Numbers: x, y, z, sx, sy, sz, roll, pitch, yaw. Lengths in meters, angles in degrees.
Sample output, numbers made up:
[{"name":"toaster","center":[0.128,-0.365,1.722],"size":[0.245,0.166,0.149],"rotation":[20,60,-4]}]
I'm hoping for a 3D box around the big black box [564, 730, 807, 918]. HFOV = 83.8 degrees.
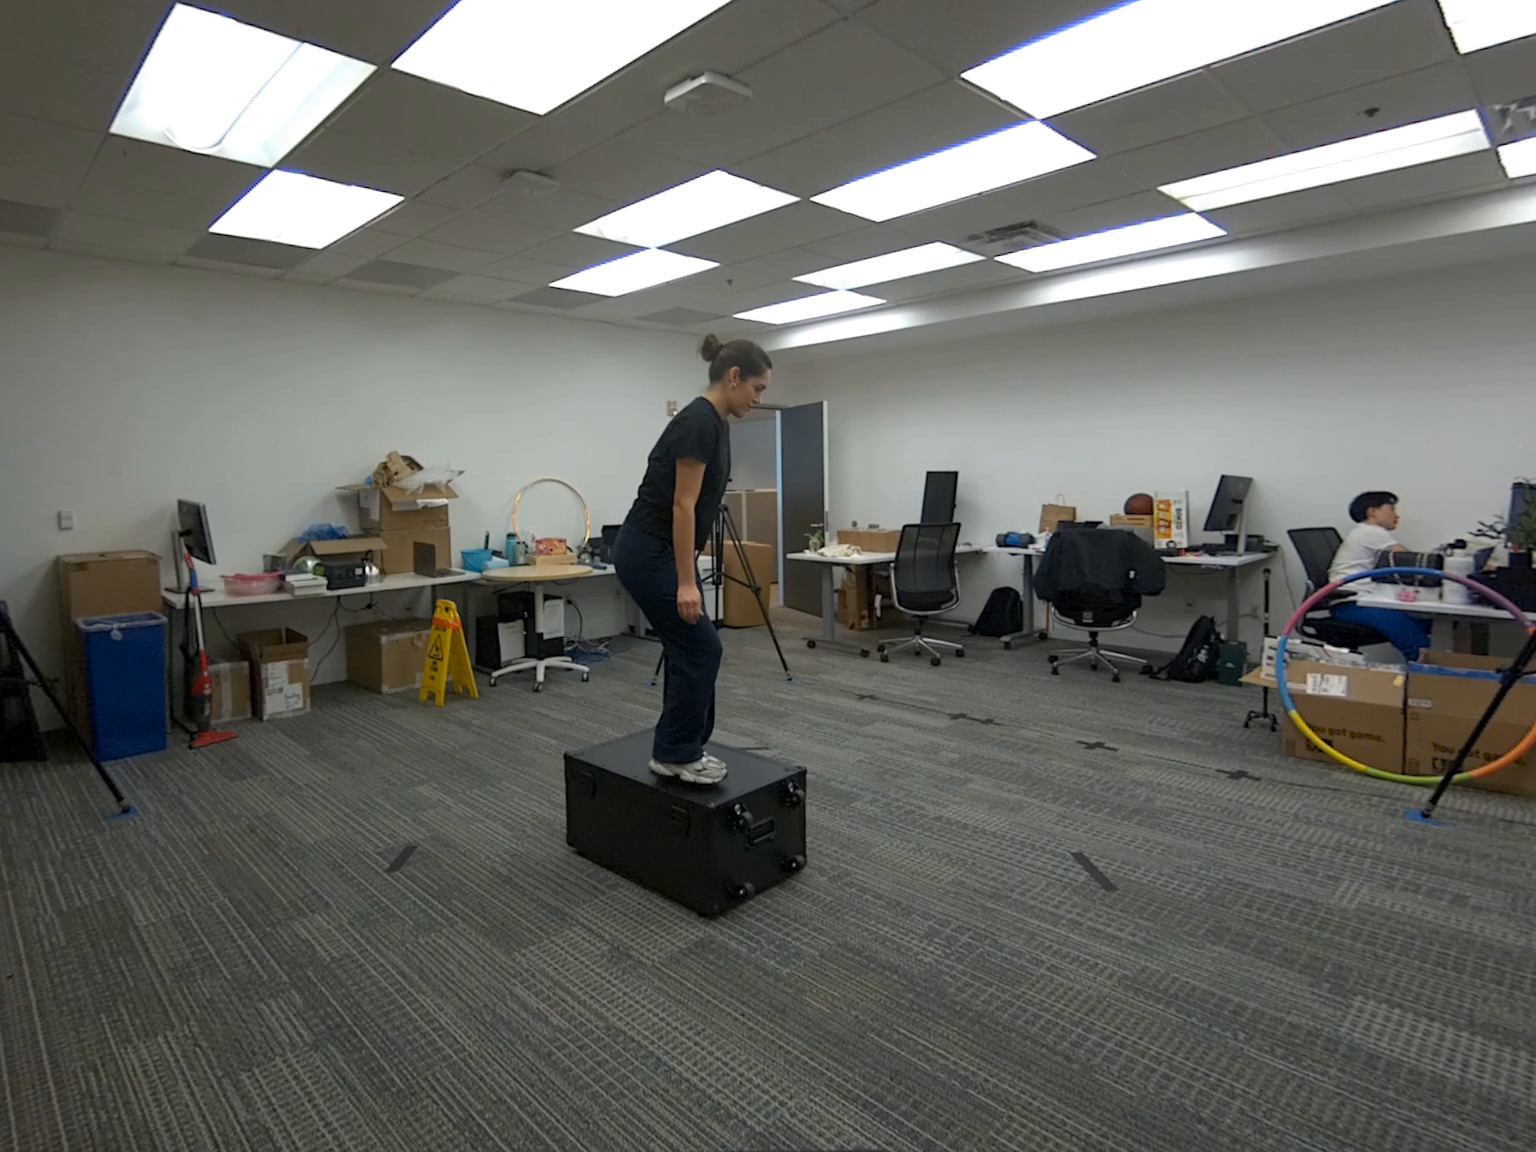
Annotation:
[{"name":"big black box","center":[-0.293,0.858,3.108],"size":[0.888,0.394,0.508],"rotation":[4,7,42]}]
